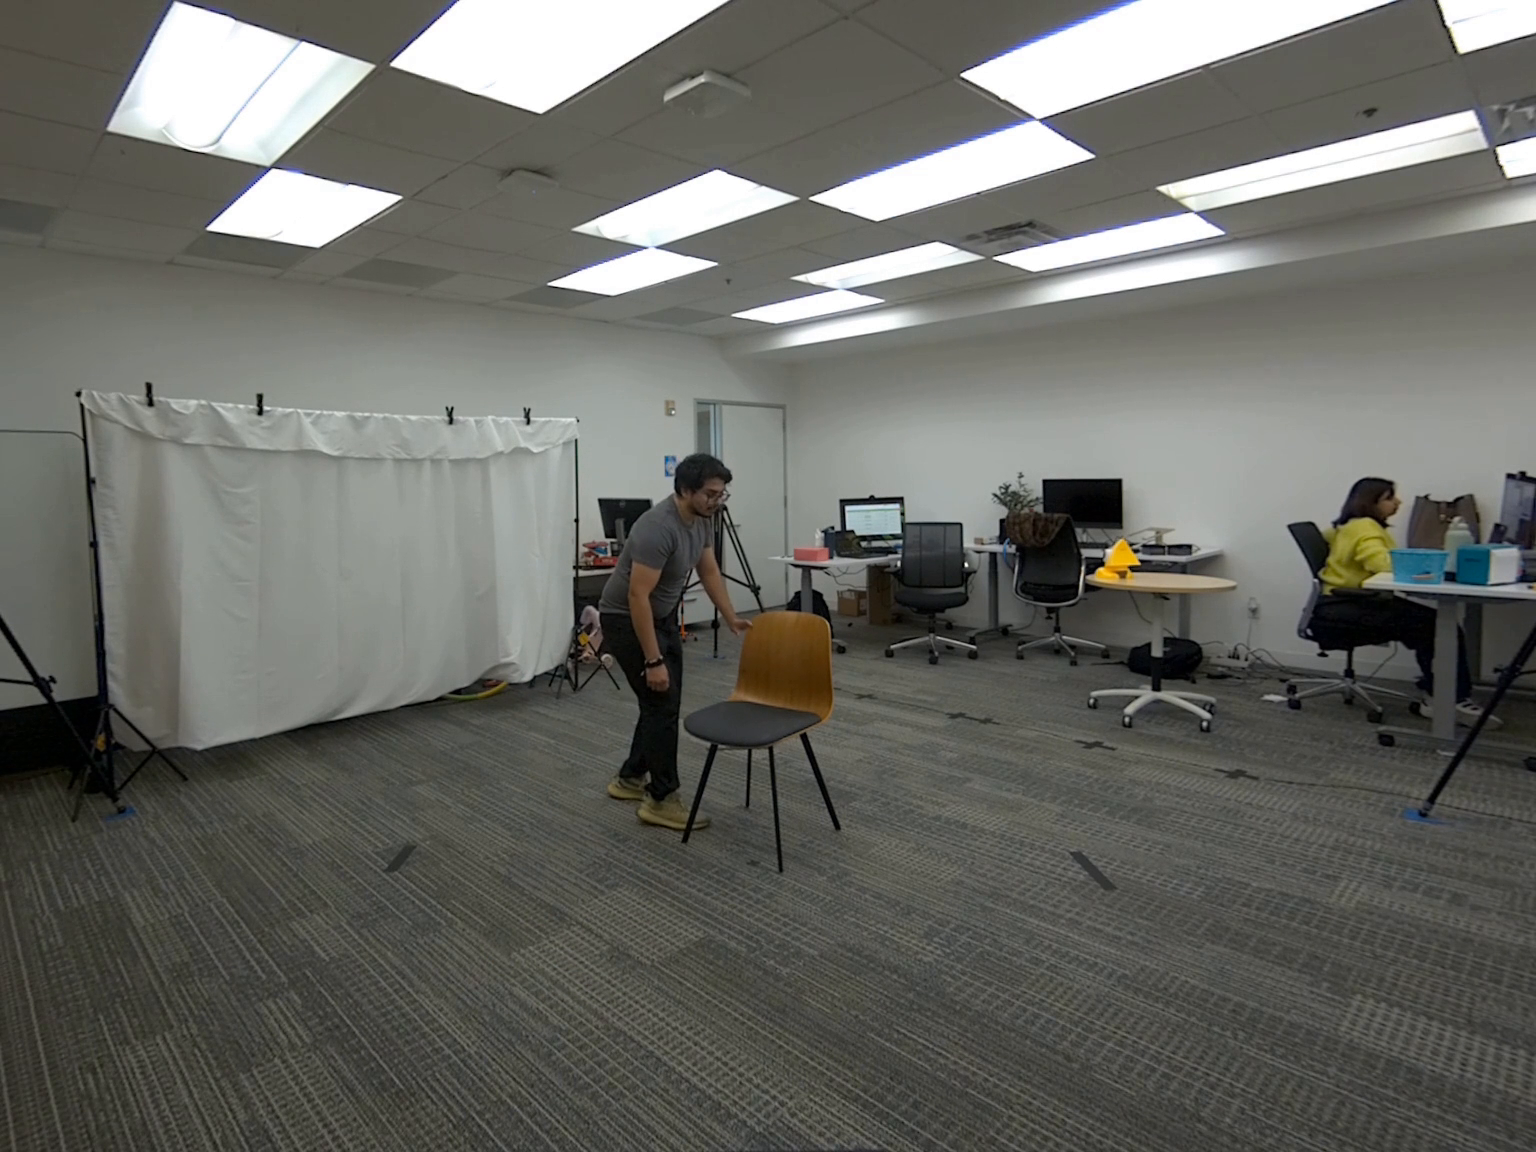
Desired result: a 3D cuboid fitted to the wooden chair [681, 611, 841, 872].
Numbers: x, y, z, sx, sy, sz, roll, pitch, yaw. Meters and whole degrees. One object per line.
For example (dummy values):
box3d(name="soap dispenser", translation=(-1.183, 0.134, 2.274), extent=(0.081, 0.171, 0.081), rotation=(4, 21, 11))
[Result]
box3d(name="wooden chair", translation=(-0.028, 0.592, 3.289), extent=(0.491, 0.877, 0.509), rotation=(2, 1, 33))
